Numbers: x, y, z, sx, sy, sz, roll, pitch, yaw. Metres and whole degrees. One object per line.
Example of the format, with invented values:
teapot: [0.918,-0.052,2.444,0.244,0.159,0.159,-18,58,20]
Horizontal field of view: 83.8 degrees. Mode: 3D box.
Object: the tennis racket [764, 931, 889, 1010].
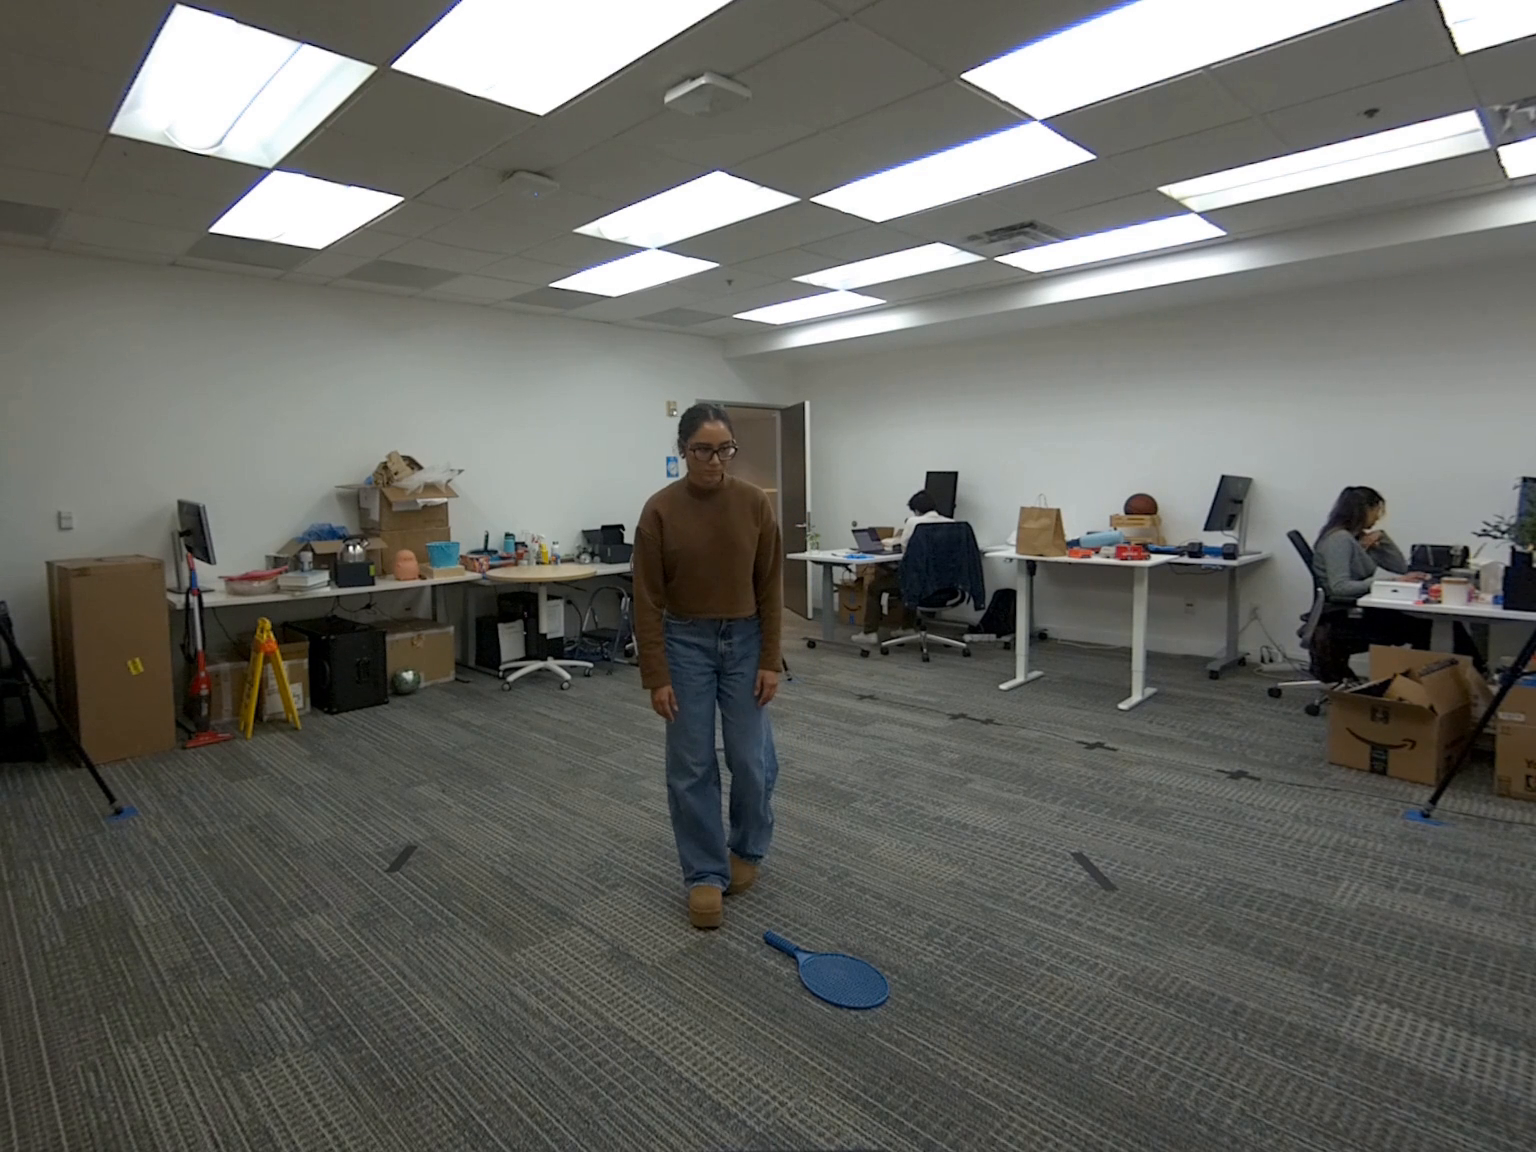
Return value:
tennis racket: [0.160,1.107,2.426,0.208,0.031,0.447,-6,9,-41]
